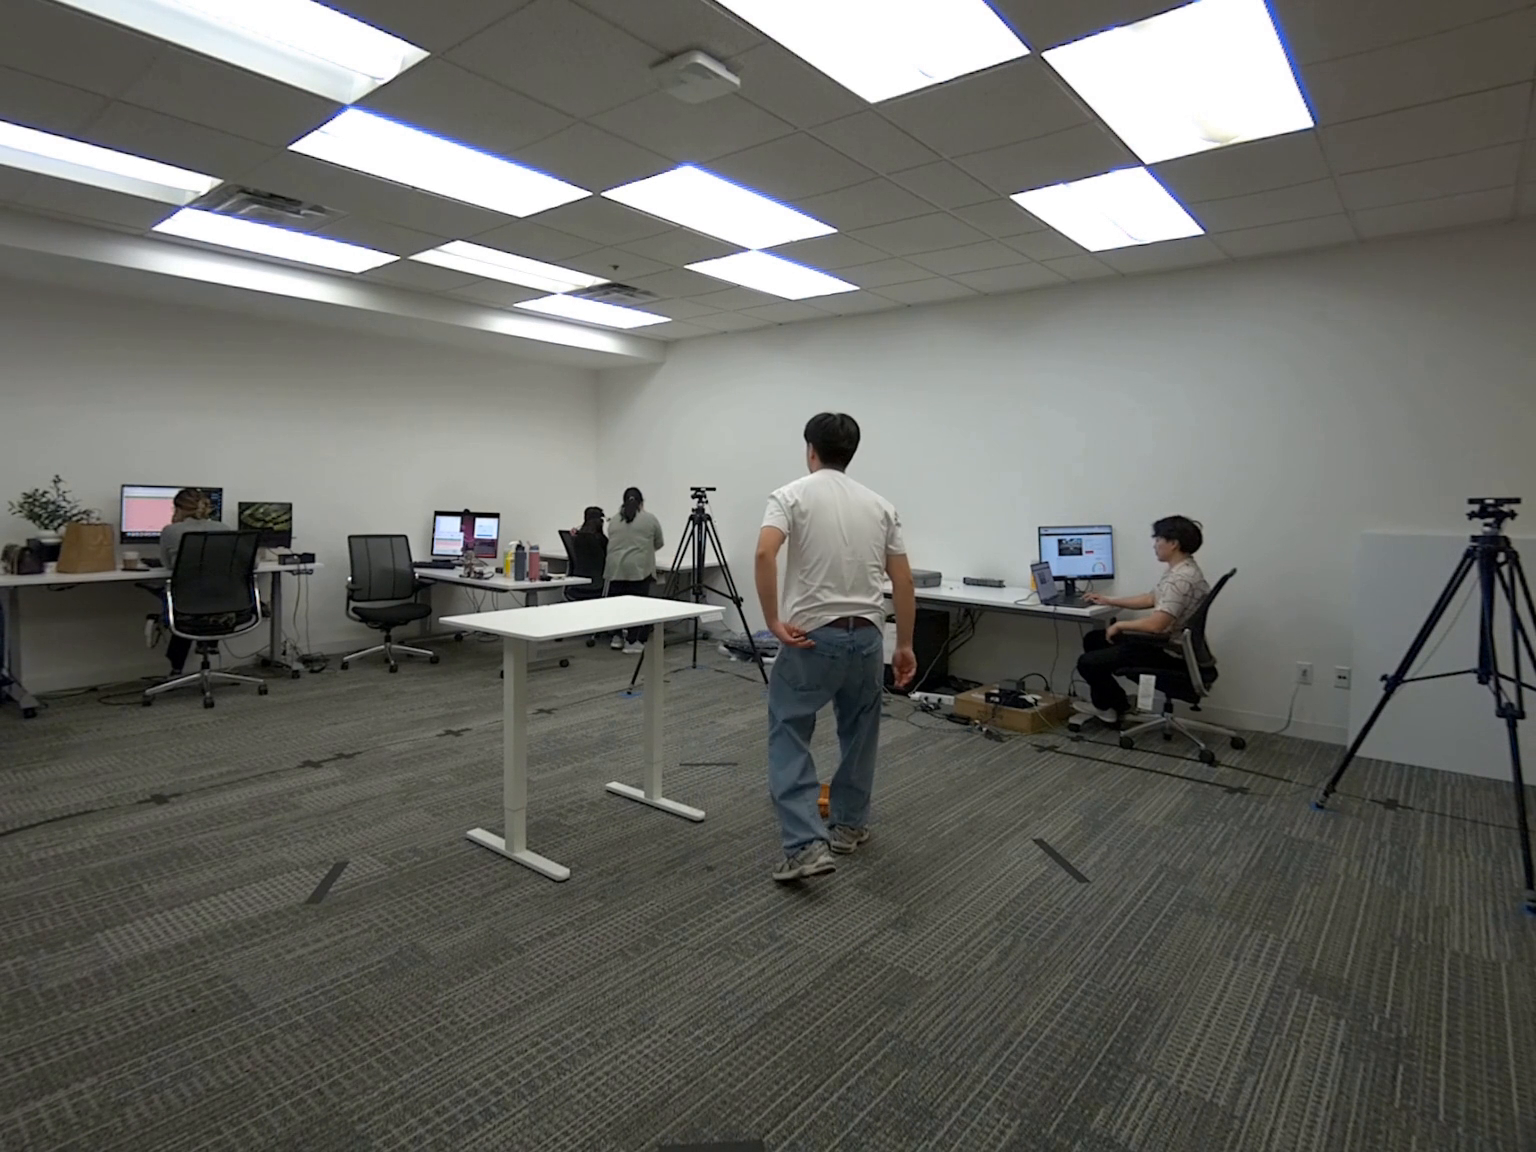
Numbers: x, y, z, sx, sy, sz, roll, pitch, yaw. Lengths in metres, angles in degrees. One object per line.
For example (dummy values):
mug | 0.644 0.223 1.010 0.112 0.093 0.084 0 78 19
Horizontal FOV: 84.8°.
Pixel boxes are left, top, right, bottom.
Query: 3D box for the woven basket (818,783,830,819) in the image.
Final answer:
woven basket | 0.176 0.964 3.724 0.357 0.073 0.248 2 5 18
